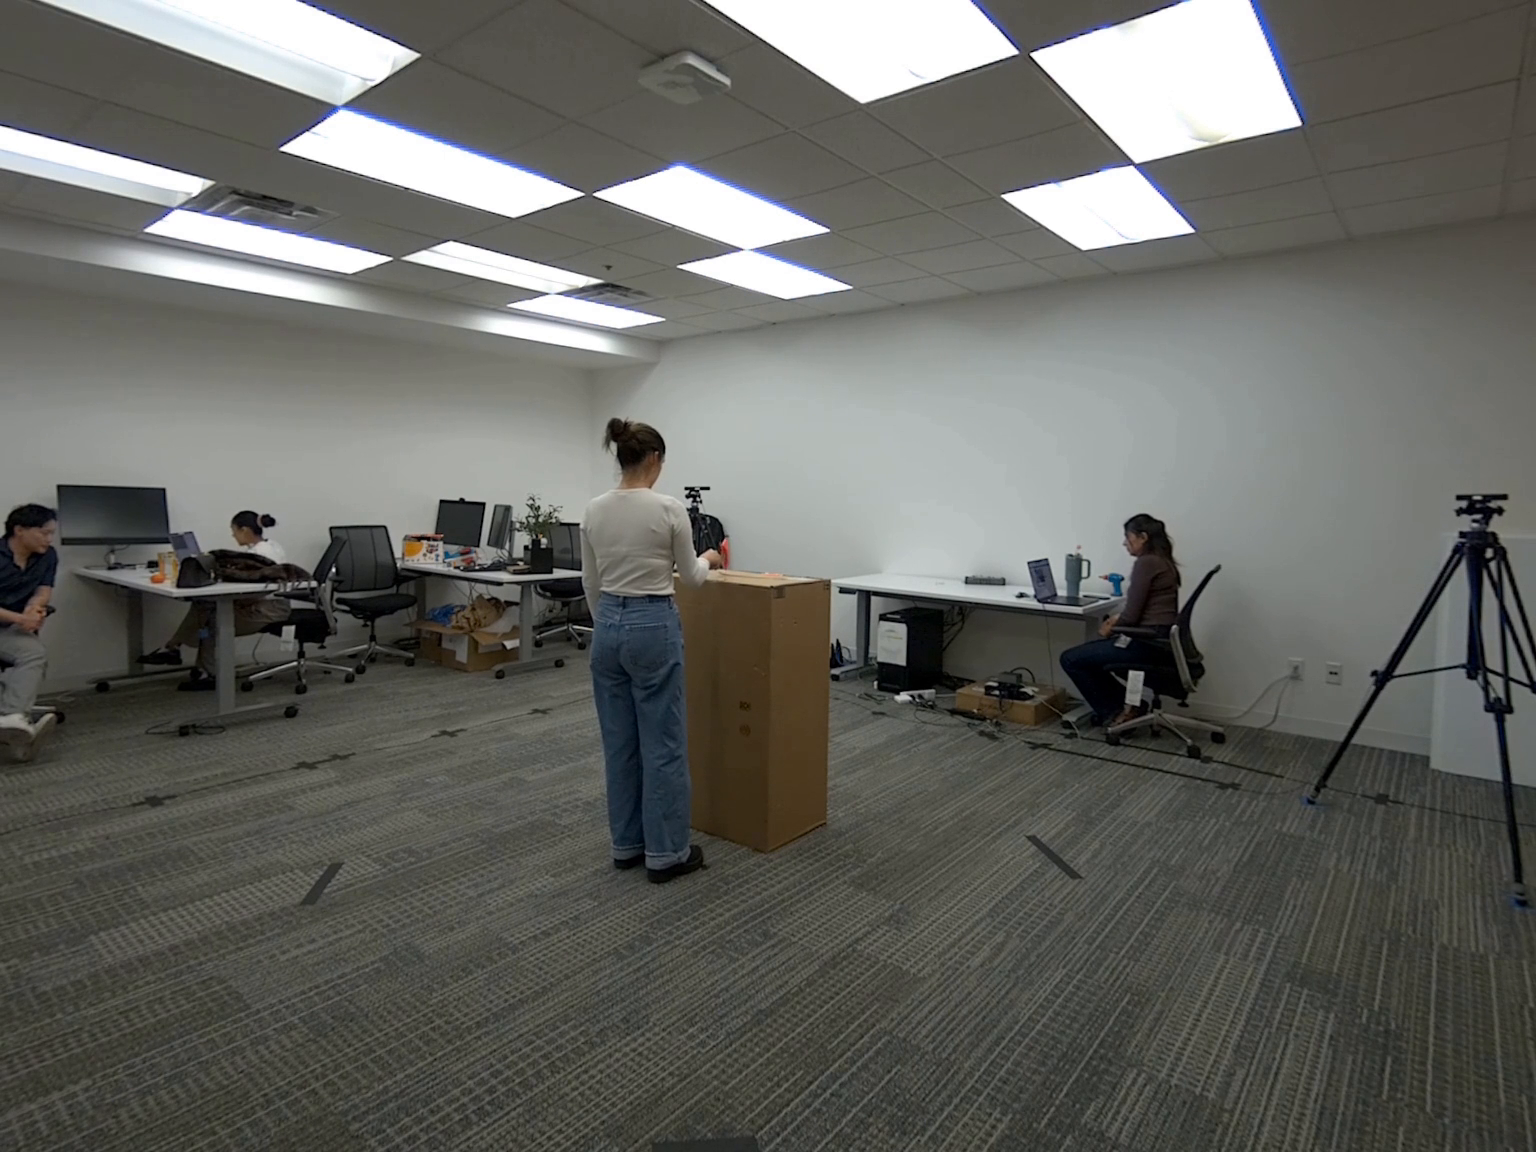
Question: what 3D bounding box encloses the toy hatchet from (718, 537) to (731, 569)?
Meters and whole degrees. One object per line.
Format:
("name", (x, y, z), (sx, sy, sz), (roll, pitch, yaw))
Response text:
("toy hatchet", (-0.199, -0.097, 3.484), (0.030, 0.131, 0.267), (7, -1, 6))
